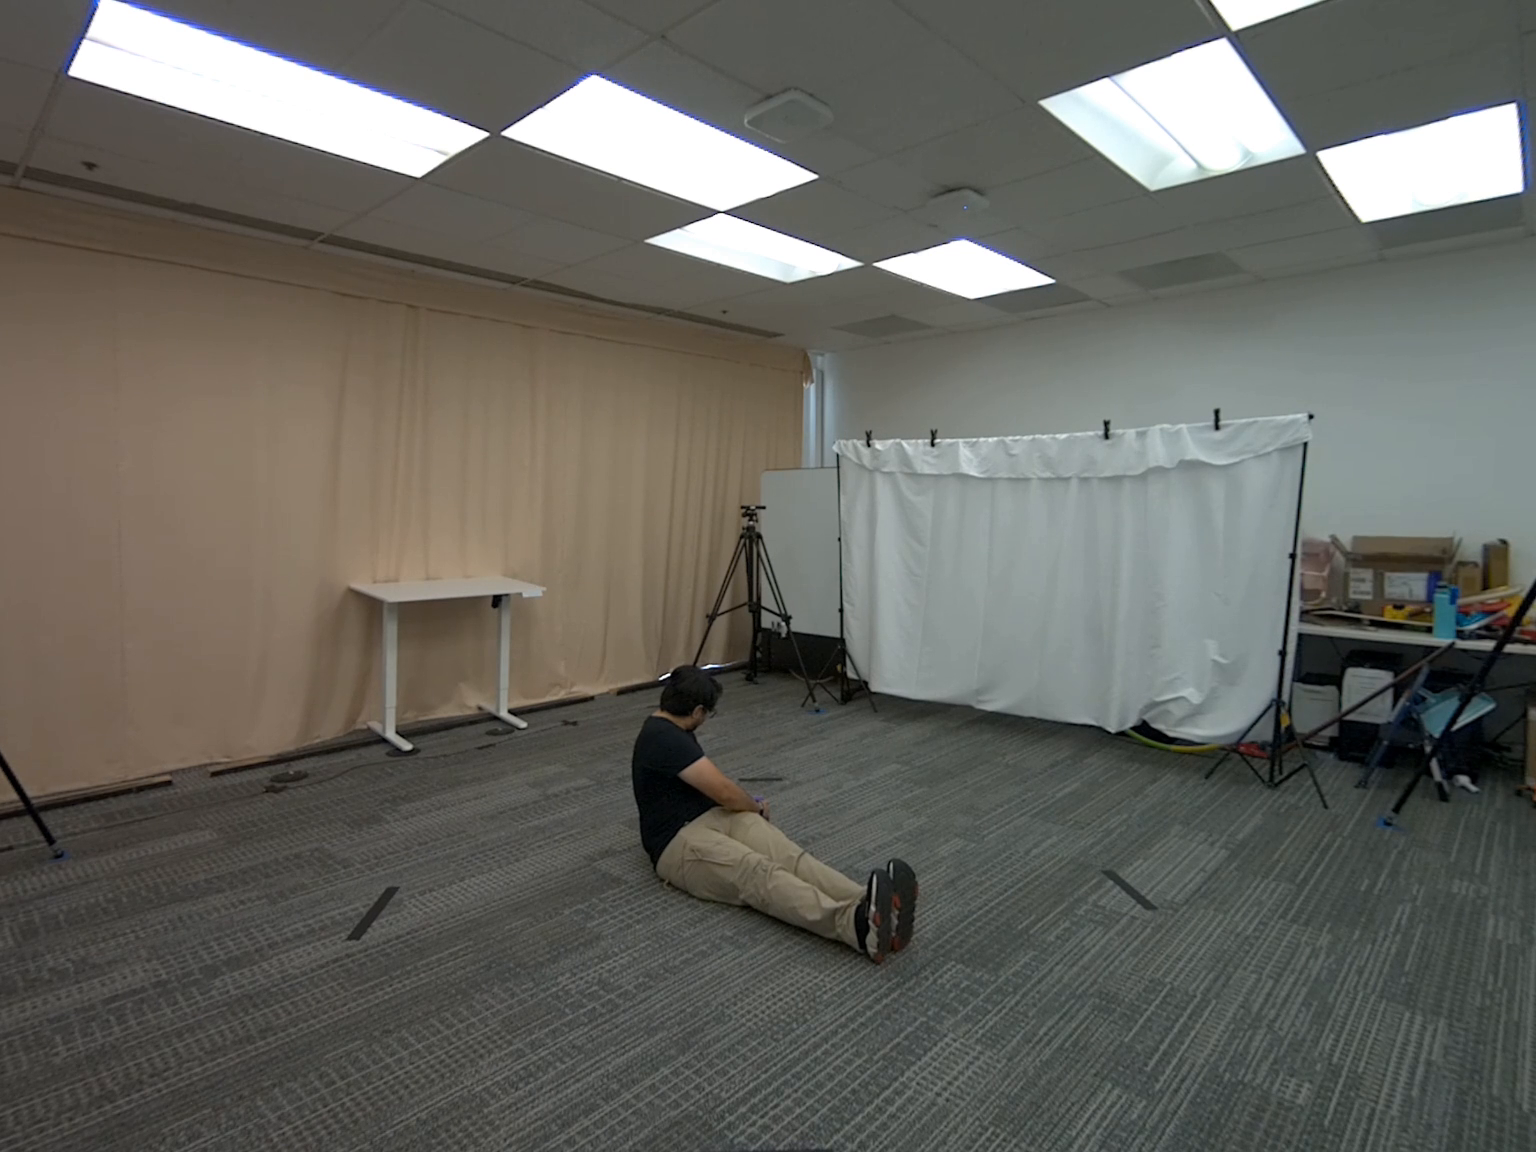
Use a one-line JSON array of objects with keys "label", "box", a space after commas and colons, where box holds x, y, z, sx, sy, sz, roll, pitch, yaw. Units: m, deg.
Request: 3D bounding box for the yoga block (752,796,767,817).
[{"label": "yoga block", "box": [-0.116, 0.997, 3.468, 0.074, 0.150, 0.234, 4, -17, -33]}]
